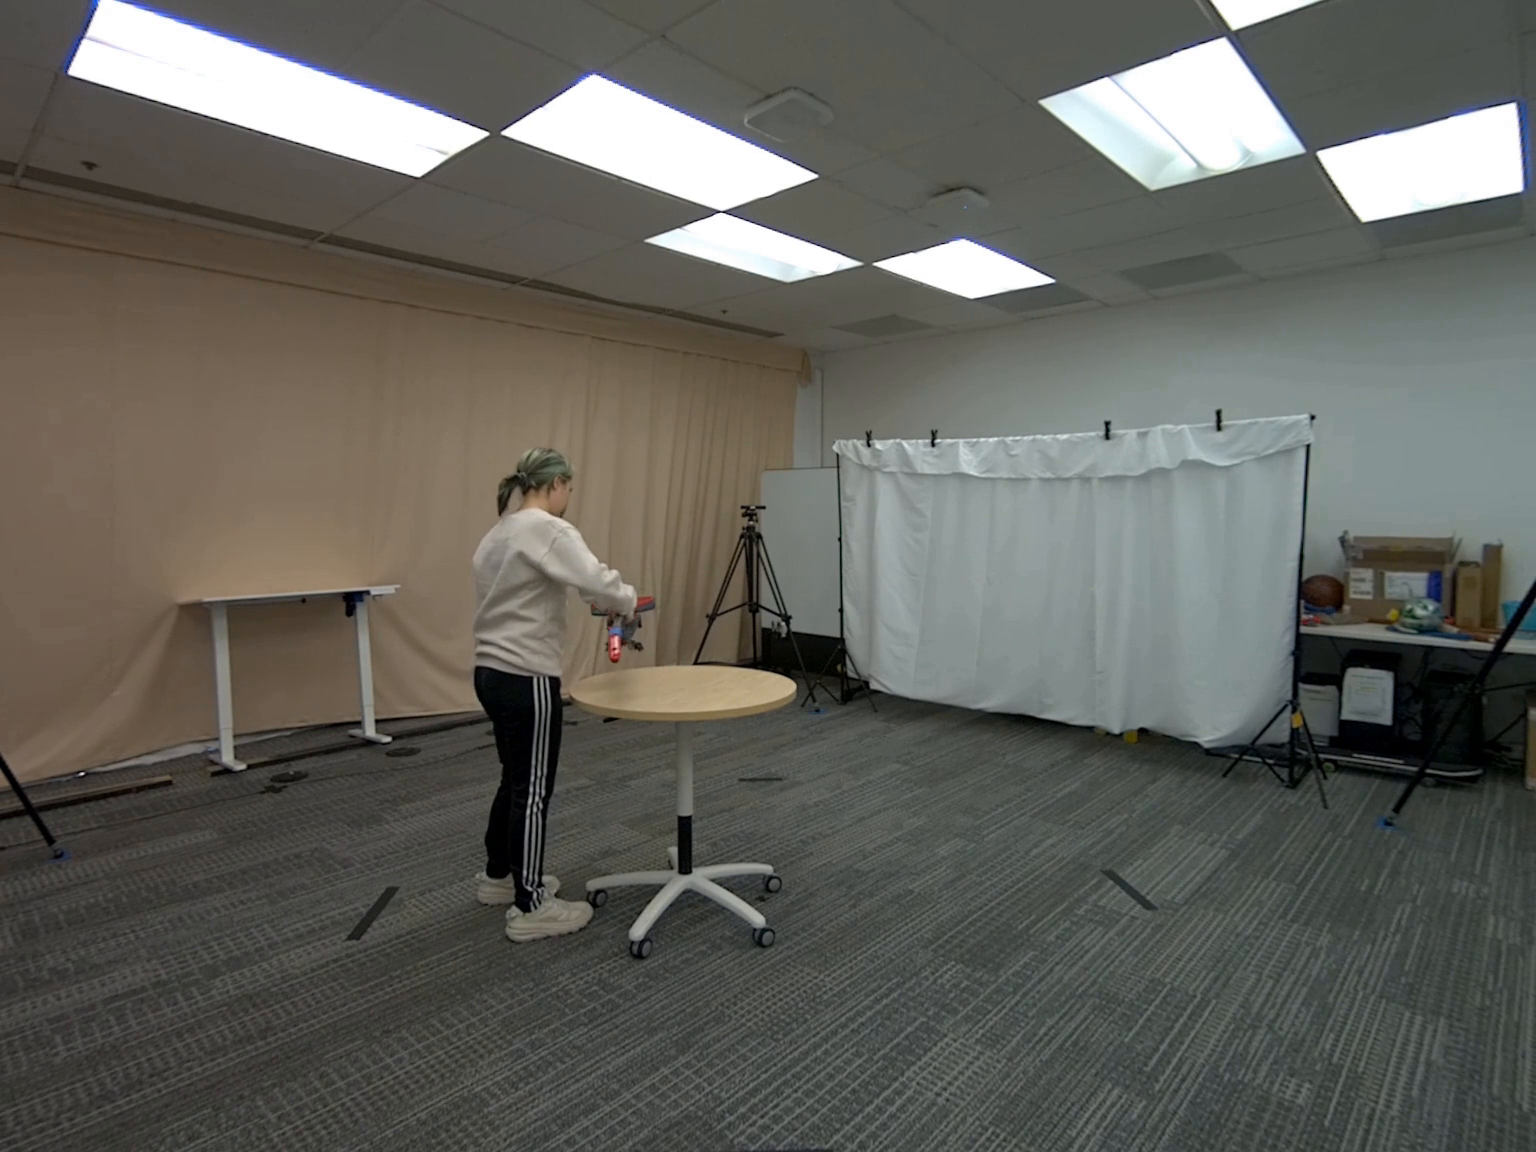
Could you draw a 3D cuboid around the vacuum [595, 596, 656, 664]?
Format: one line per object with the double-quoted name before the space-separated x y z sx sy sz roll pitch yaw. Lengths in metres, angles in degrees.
"vacuum" -0.479 0.202 2.756 0.251 0.143 1.060 -8 5 -9
